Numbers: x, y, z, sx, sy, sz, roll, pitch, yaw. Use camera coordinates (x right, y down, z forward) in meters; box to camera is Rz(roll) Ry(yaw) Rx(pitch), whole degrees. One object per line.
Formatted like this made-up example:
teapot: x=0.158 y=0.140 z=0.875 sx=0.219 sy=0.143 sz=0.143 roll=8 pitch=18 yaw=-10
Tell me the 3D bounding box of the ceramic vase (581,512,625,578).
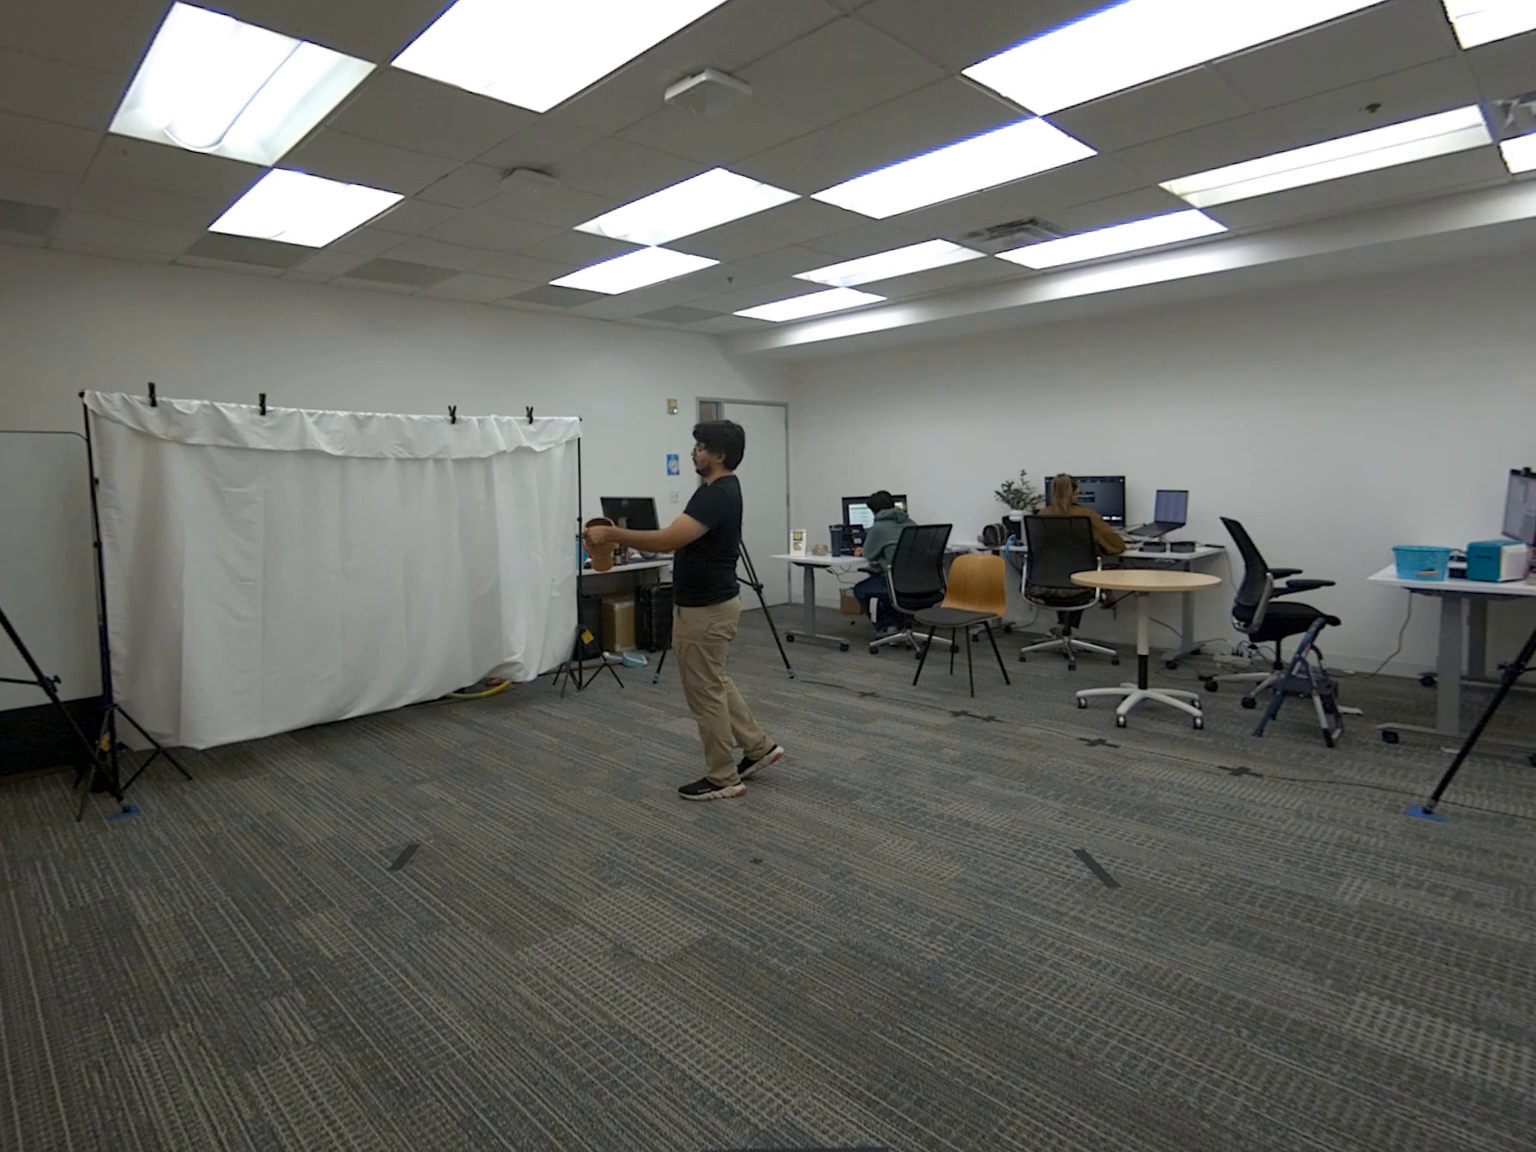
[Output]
ceramic vase: x=-0.714 y=-0.135 z=3.719 sx=0.135 sy=0.214 sz=0.162 roll=7 pitch=41 yaw=4
